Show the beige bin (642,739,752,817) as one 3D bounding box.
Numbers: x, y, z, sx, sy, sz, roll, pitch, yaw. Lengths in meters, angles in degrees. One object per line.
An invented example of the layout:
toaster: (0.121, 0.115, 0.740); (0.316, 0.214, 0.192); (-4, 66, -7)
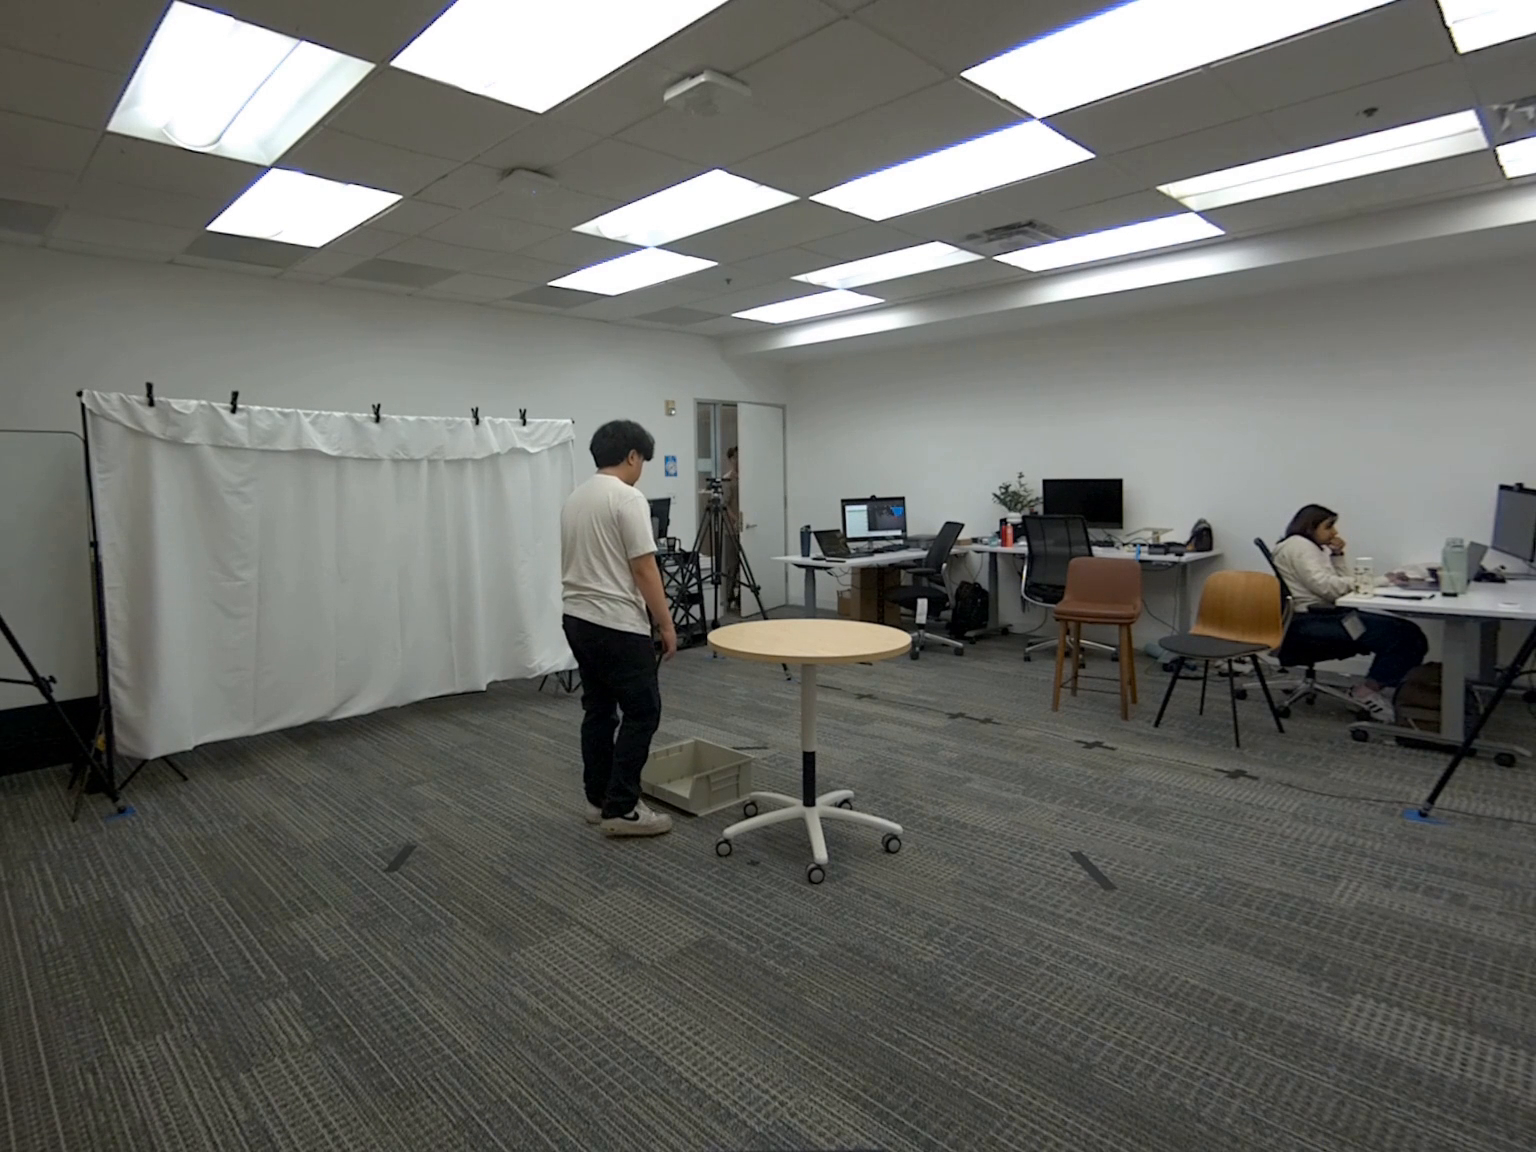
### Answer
beige bin: (-0.331, 0.883, 3.775); (0.367, 0.188, 0.435); (-5, 7, -43)
